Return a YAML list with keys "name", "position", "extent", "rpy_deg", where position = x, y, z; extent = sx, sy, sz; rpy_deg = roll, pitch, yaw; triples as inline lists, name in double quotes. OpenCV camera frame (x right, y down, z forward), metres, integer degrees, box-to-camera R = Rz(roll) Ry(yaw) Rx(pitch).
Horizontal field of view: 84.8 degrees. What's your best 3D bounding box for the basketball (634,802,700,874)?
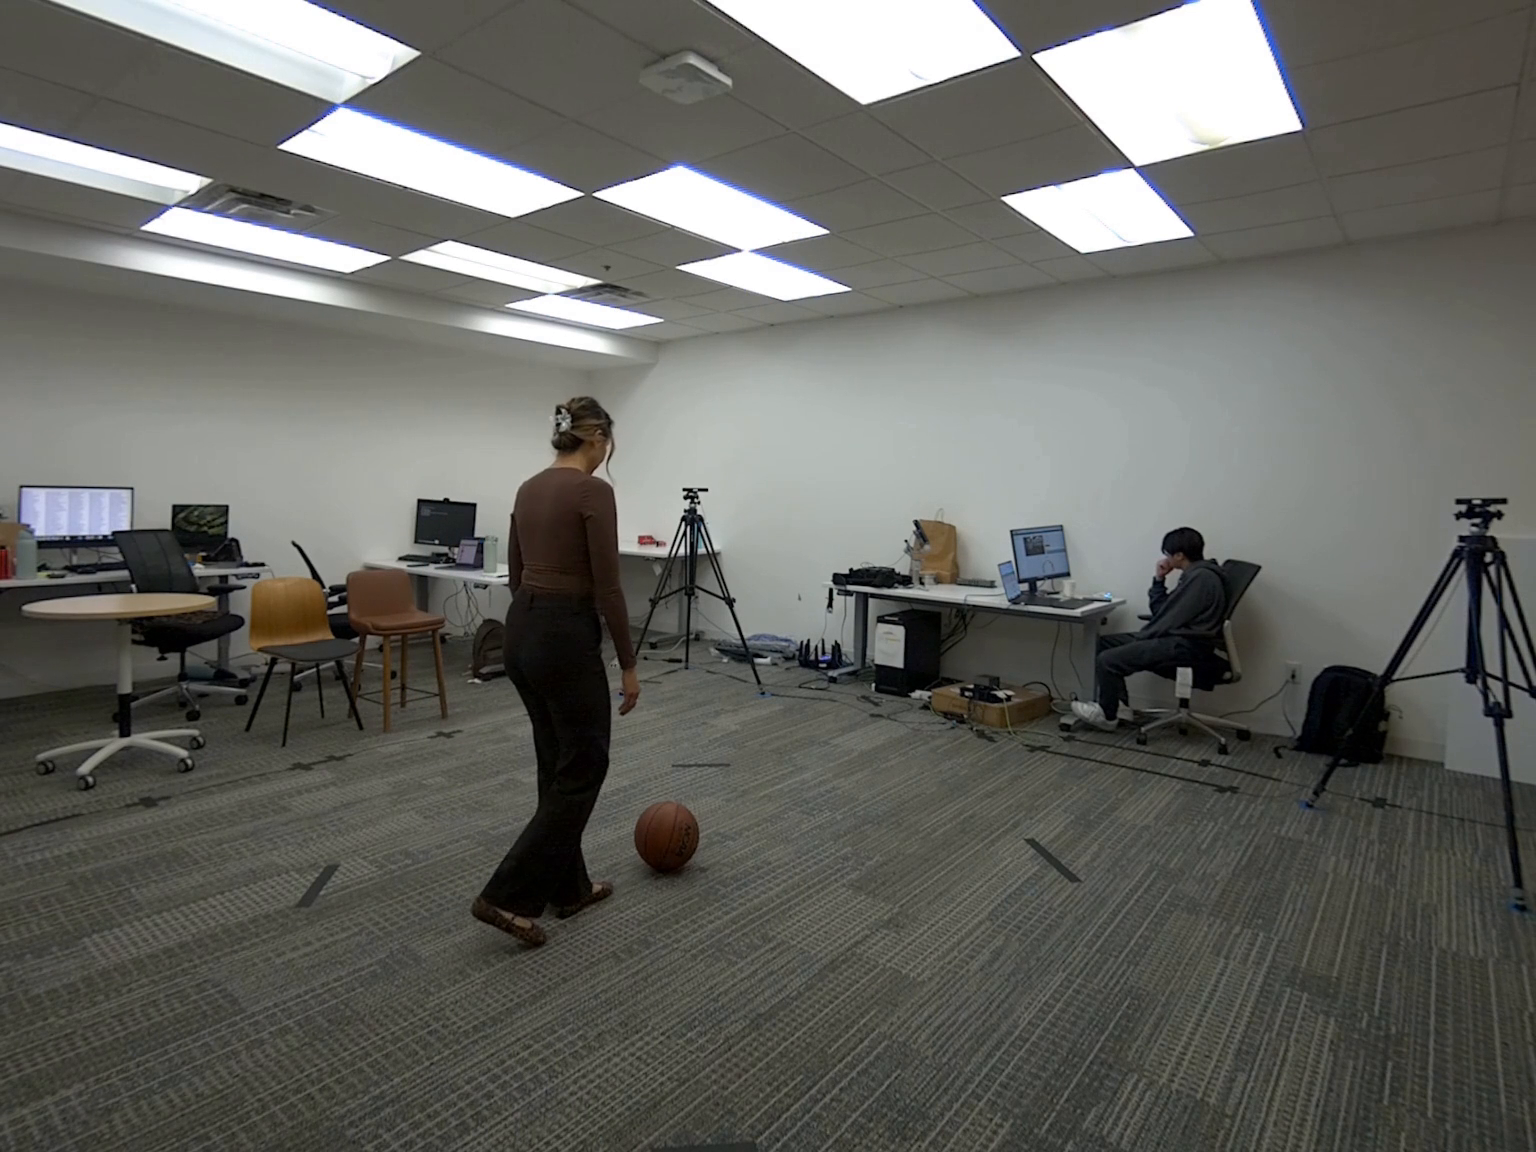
- name: "basketball"
  position: [-0.377, 0.945, 3.115]
  extent: [0.235, 0.235, 0.237]
  rpy_deg: [1, 4, -2]
